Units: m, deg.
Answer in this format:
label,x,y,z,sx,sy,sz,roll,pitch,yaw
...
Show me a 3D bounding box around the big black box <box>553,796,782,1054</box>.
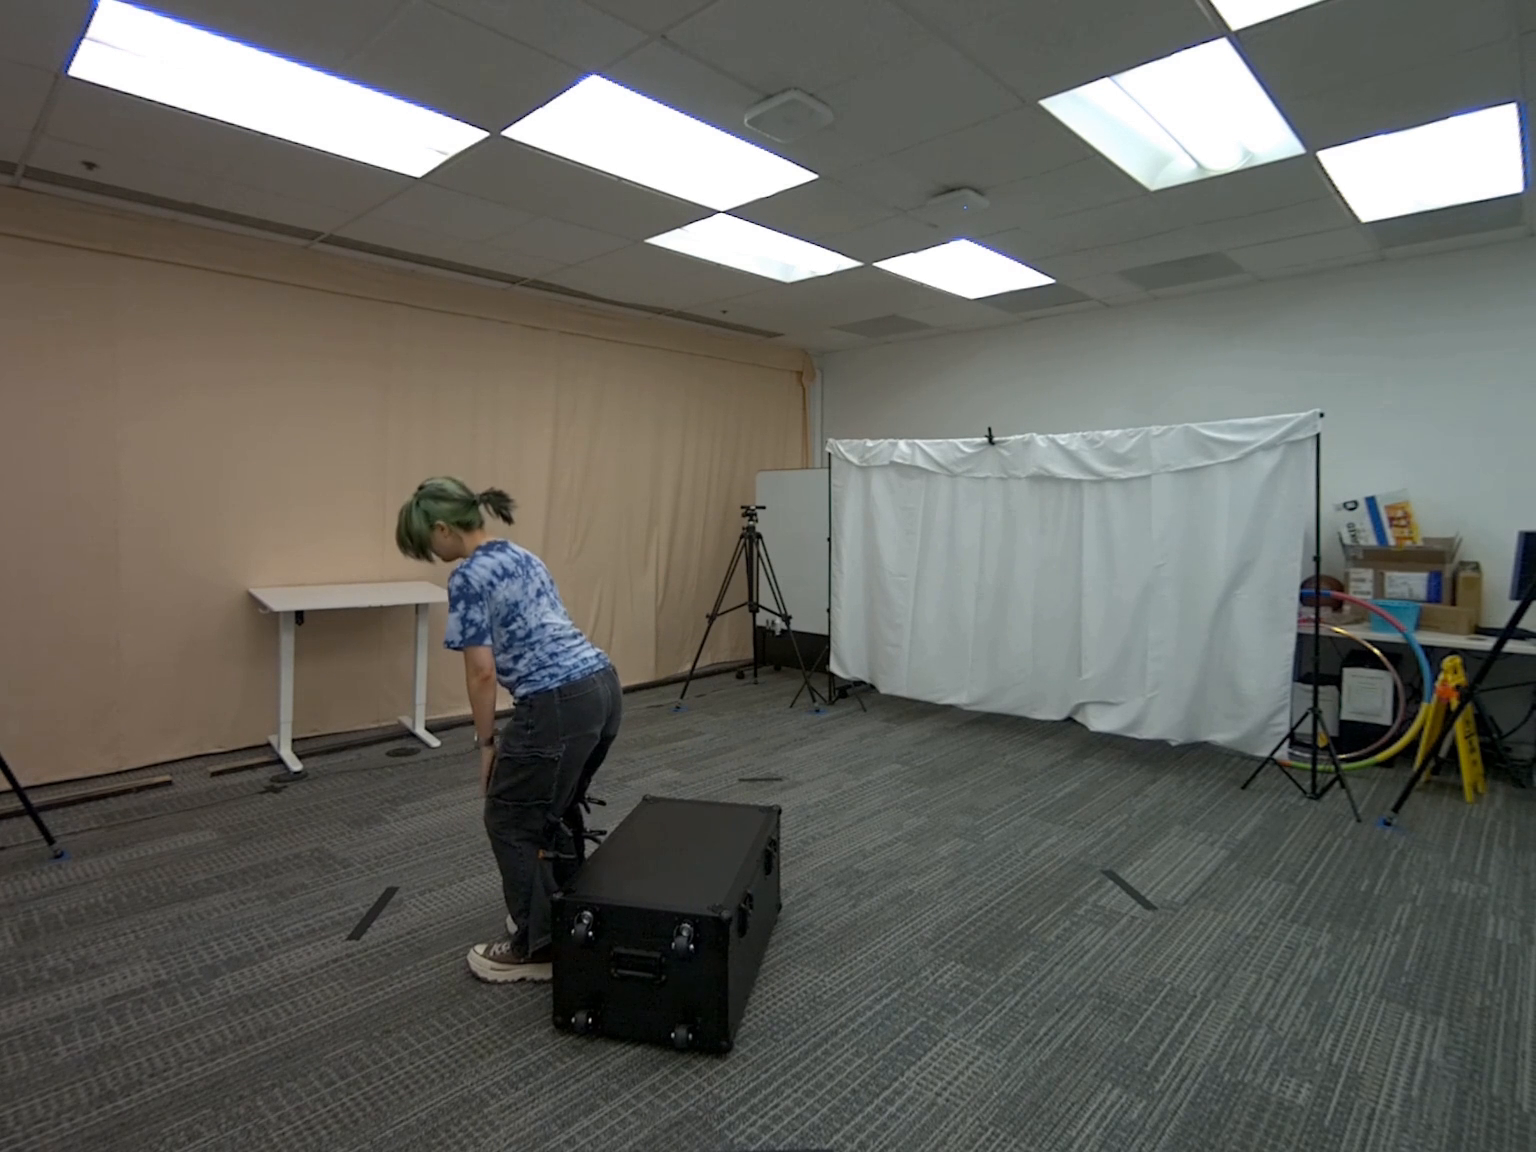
label,x,y,z,sx,sy,sz,roll,pitch,yaw
big black box,-0.268,0.993,2.497,0.528,0.395,0.851,1,4,11
